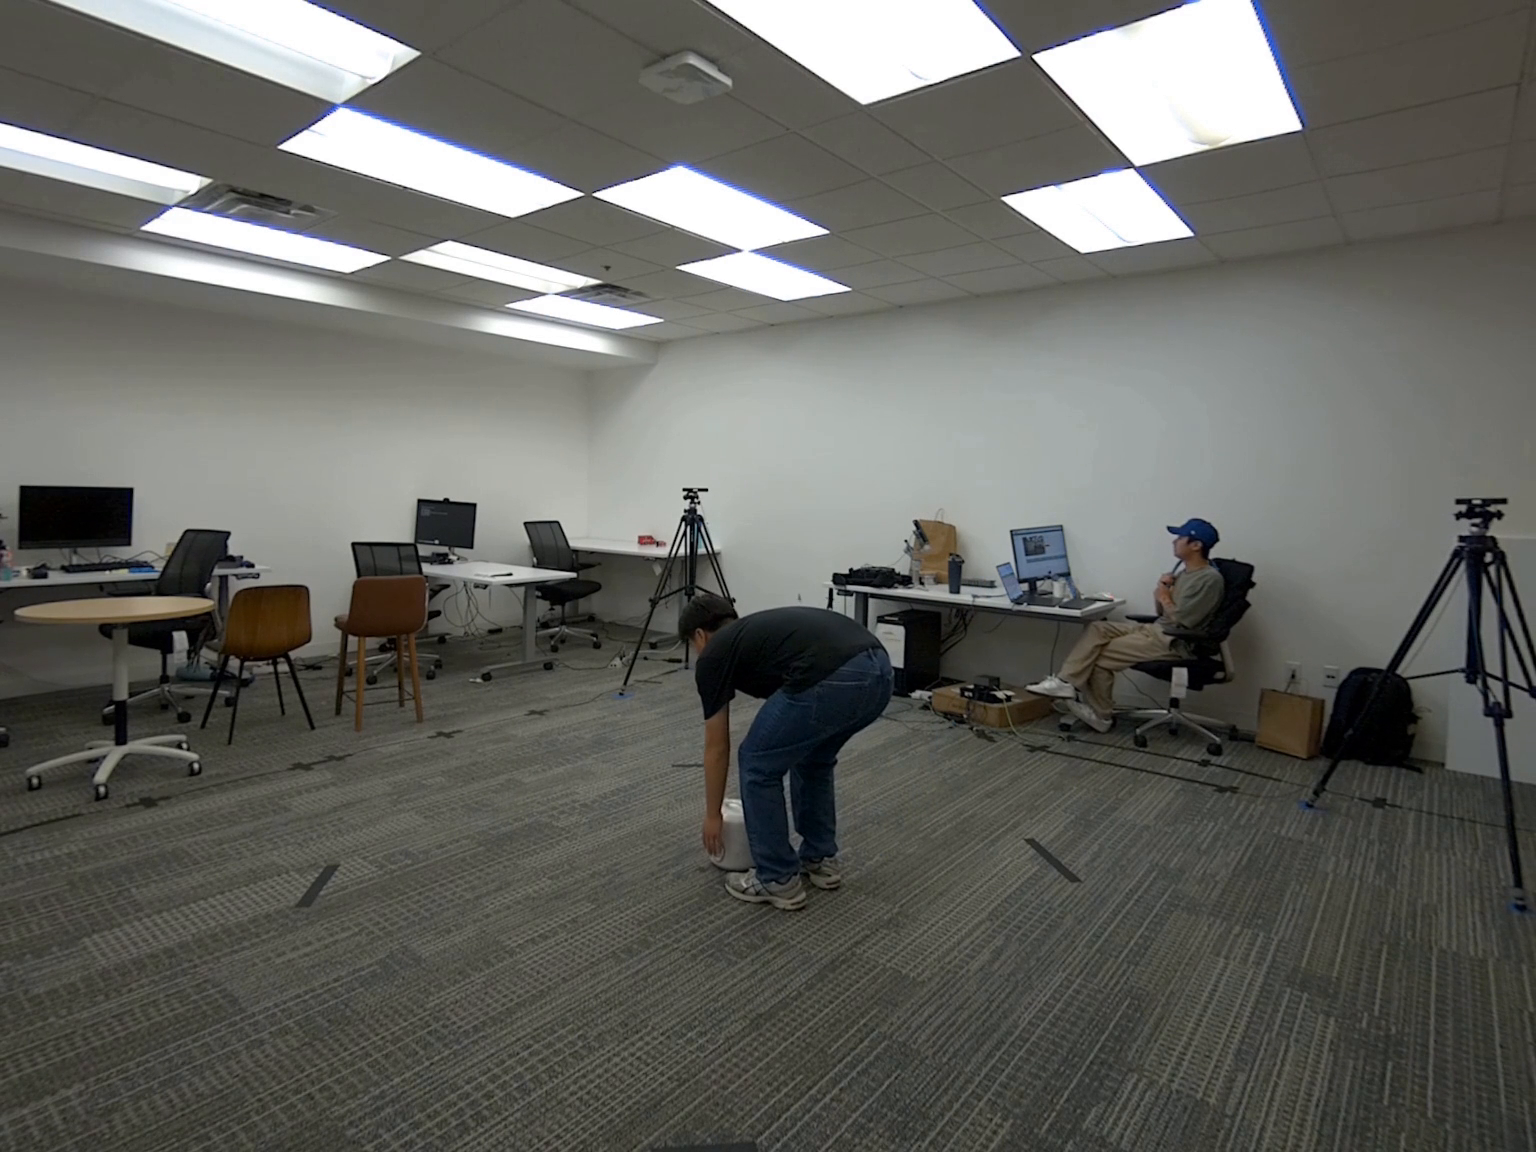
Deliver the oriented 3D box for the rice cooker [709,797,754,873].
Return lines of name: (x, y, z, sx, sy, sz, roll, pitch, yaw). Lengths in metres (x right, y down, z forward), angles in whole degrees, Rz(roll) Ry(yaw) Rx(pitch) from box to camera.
rice cooker: (-0.121, 0.942, 3.169, 0.228, 0.232, 0.210, 6, 4, 42)
